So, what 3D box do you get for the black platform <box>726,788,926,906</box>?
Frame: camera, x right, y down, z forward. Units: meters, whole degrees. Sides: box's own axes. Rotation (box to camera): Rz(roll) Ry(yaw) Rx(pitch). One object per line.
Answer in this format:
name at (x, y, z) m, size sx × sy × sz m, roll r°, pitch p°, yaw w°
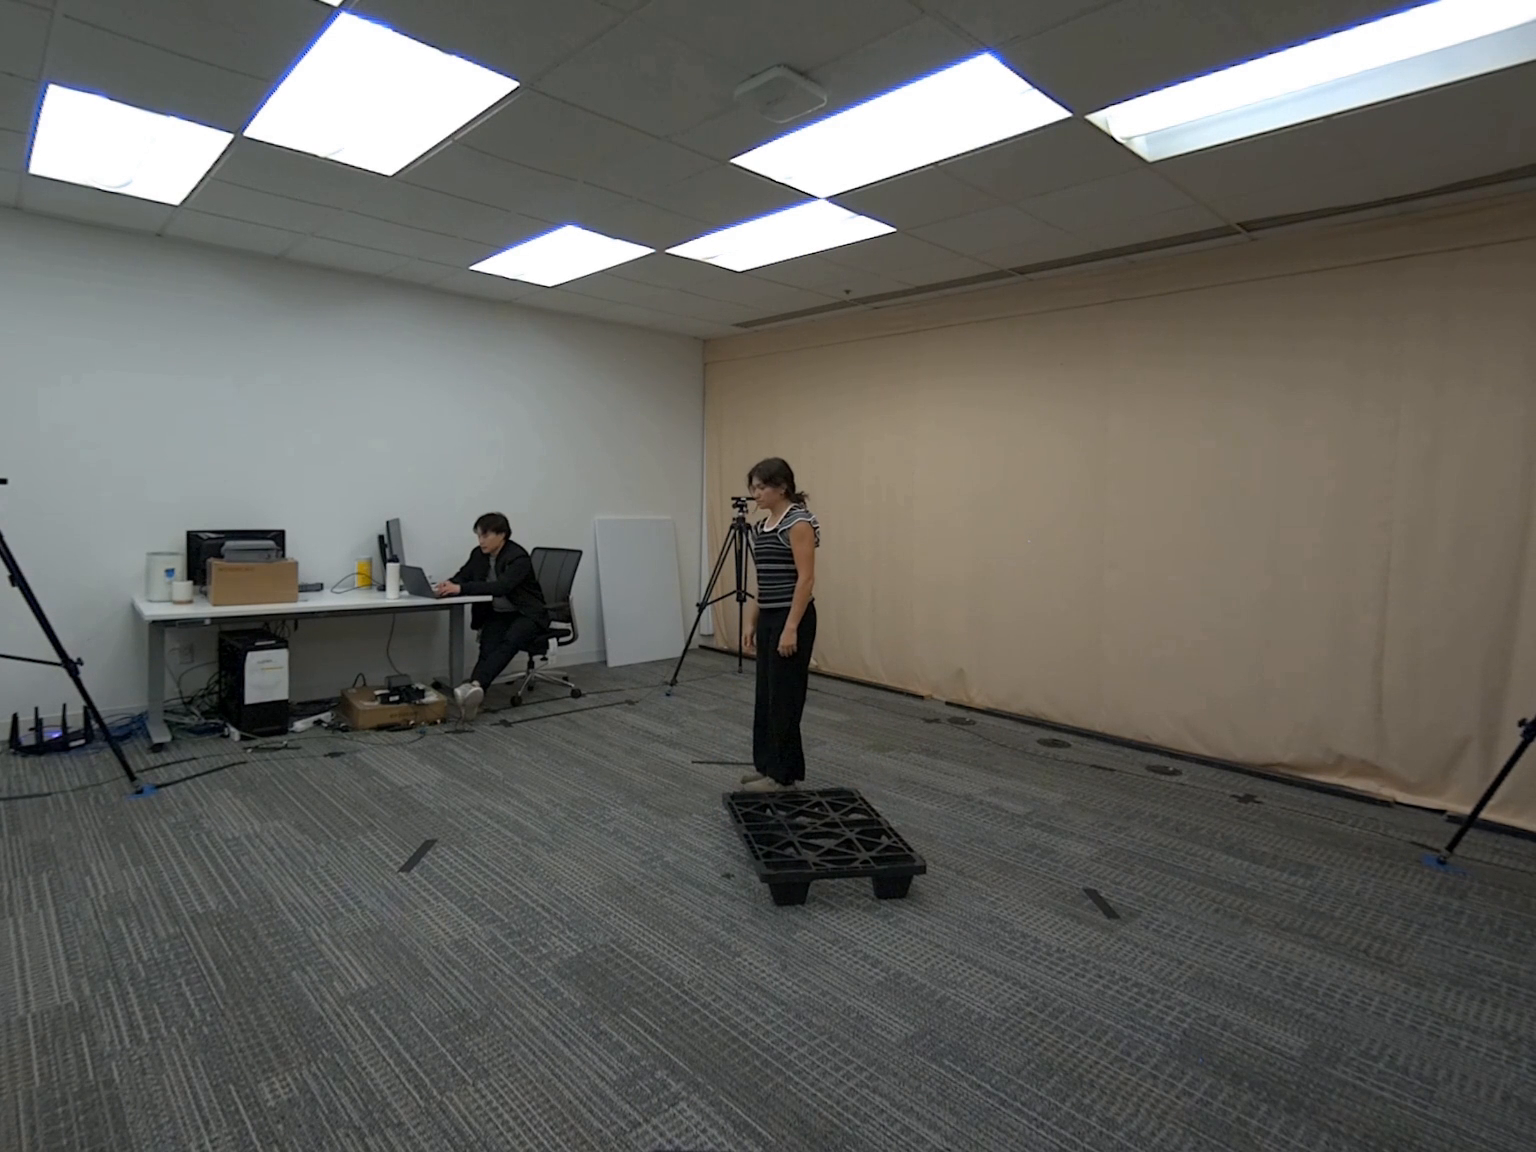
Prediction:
black platform at (0.172, 1.030, 3.277) m, size 0.600 × 0.143 × 0.815 m, roll 1°, pitch 5°, yaw -12°
